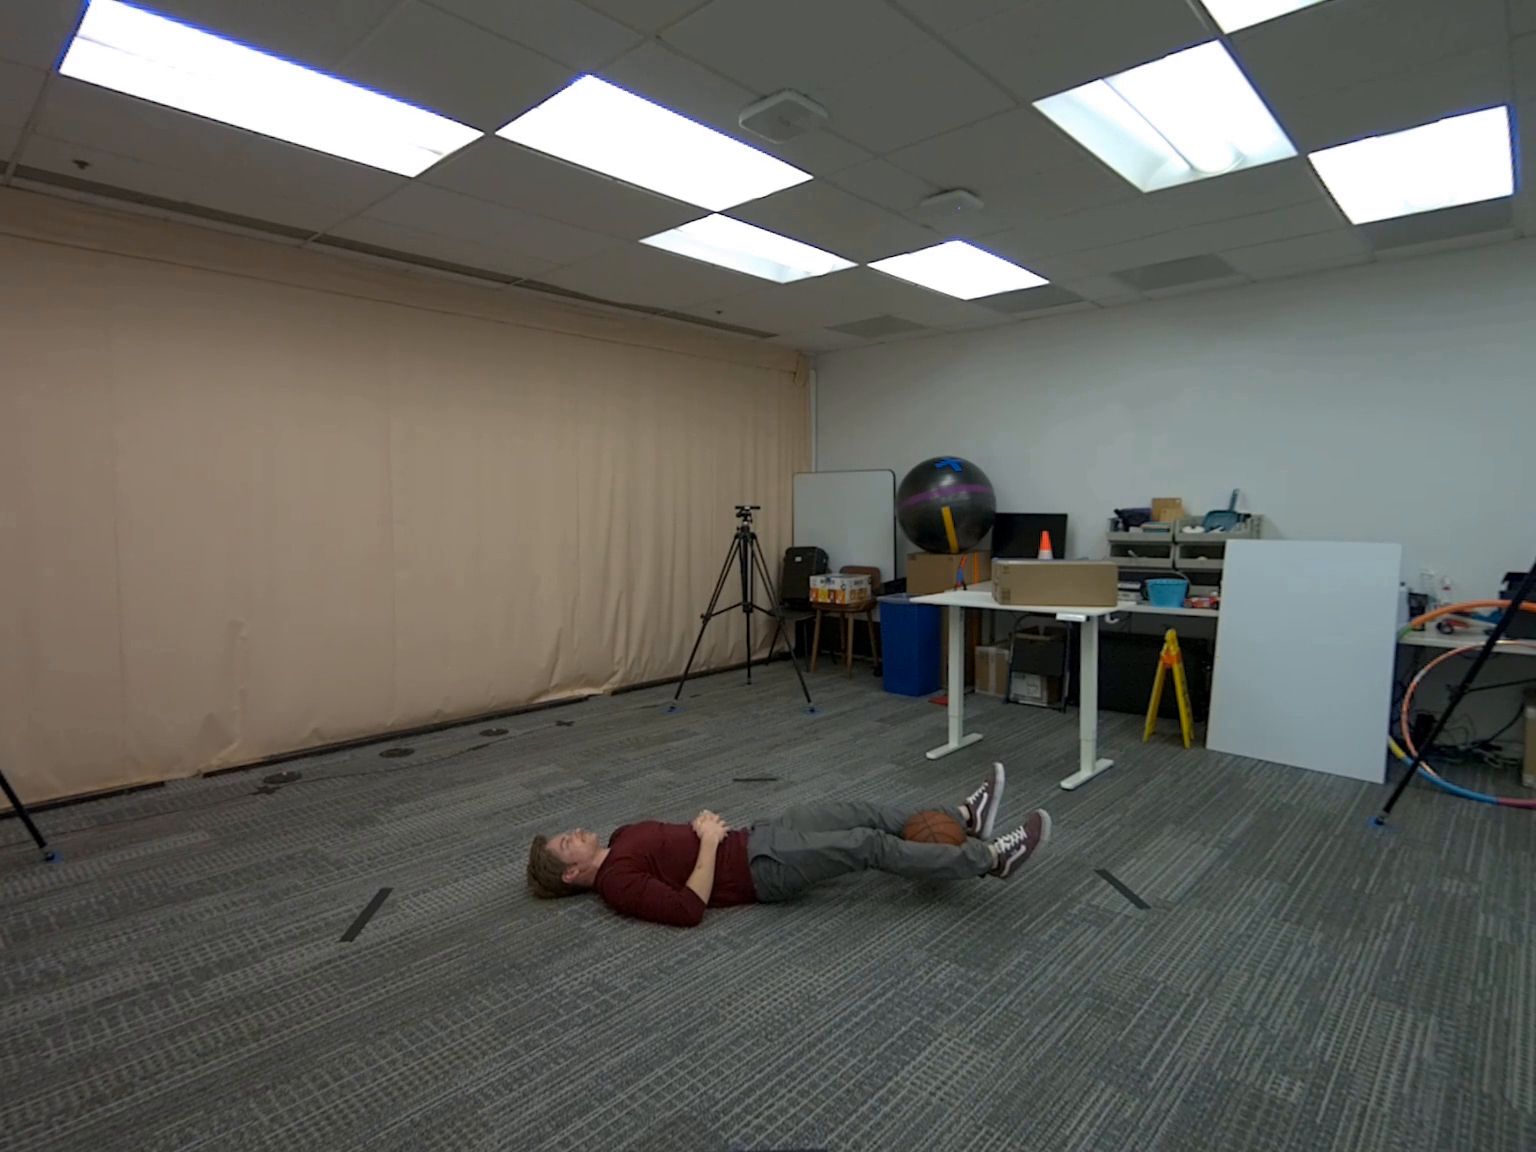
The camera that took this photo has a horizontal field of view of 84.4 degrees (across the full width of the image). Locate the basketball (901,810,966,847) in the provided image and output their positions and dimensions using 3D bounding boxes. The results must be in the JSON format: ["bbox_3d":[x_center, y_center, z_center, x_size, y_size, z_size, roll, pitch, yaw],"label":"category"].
[{"bbox_3d":[0.599,0.969,3.053,0.236,0.235,0.237,0,4,-2],"label":"basketball"}]
